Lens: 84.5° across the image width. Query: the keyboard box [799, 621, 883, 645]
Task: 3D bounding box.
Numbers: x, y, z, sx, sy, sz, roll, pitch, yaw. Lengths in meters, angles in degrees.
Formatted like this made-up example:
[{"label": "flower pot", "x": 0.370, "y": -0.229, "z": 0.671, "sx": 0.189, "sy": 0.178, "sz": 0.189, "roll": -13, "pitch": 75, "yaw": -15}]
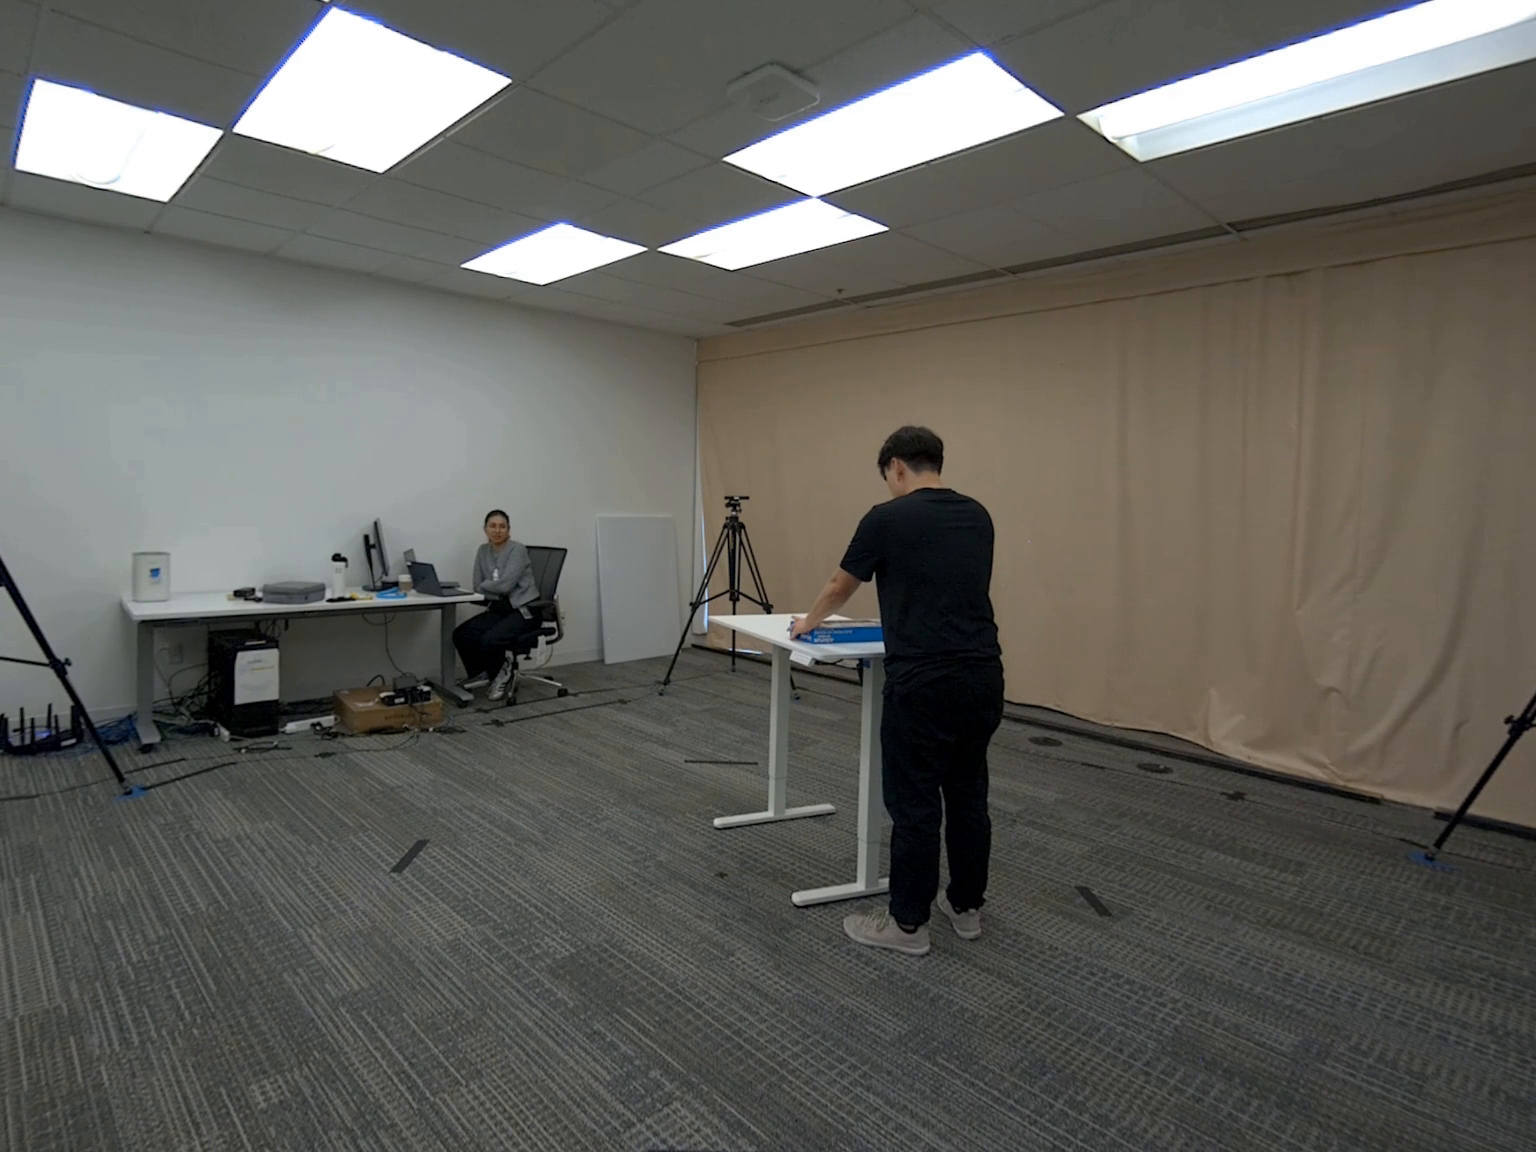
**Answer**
[{"label": "keyboard box", "x": 0.322, "y": 0.203, "z": 3.096, "sx": 0.430, "sy": 0.059, "sz": 0.179, "roll": -1, "pitch": 4, "yaw": -20}]
